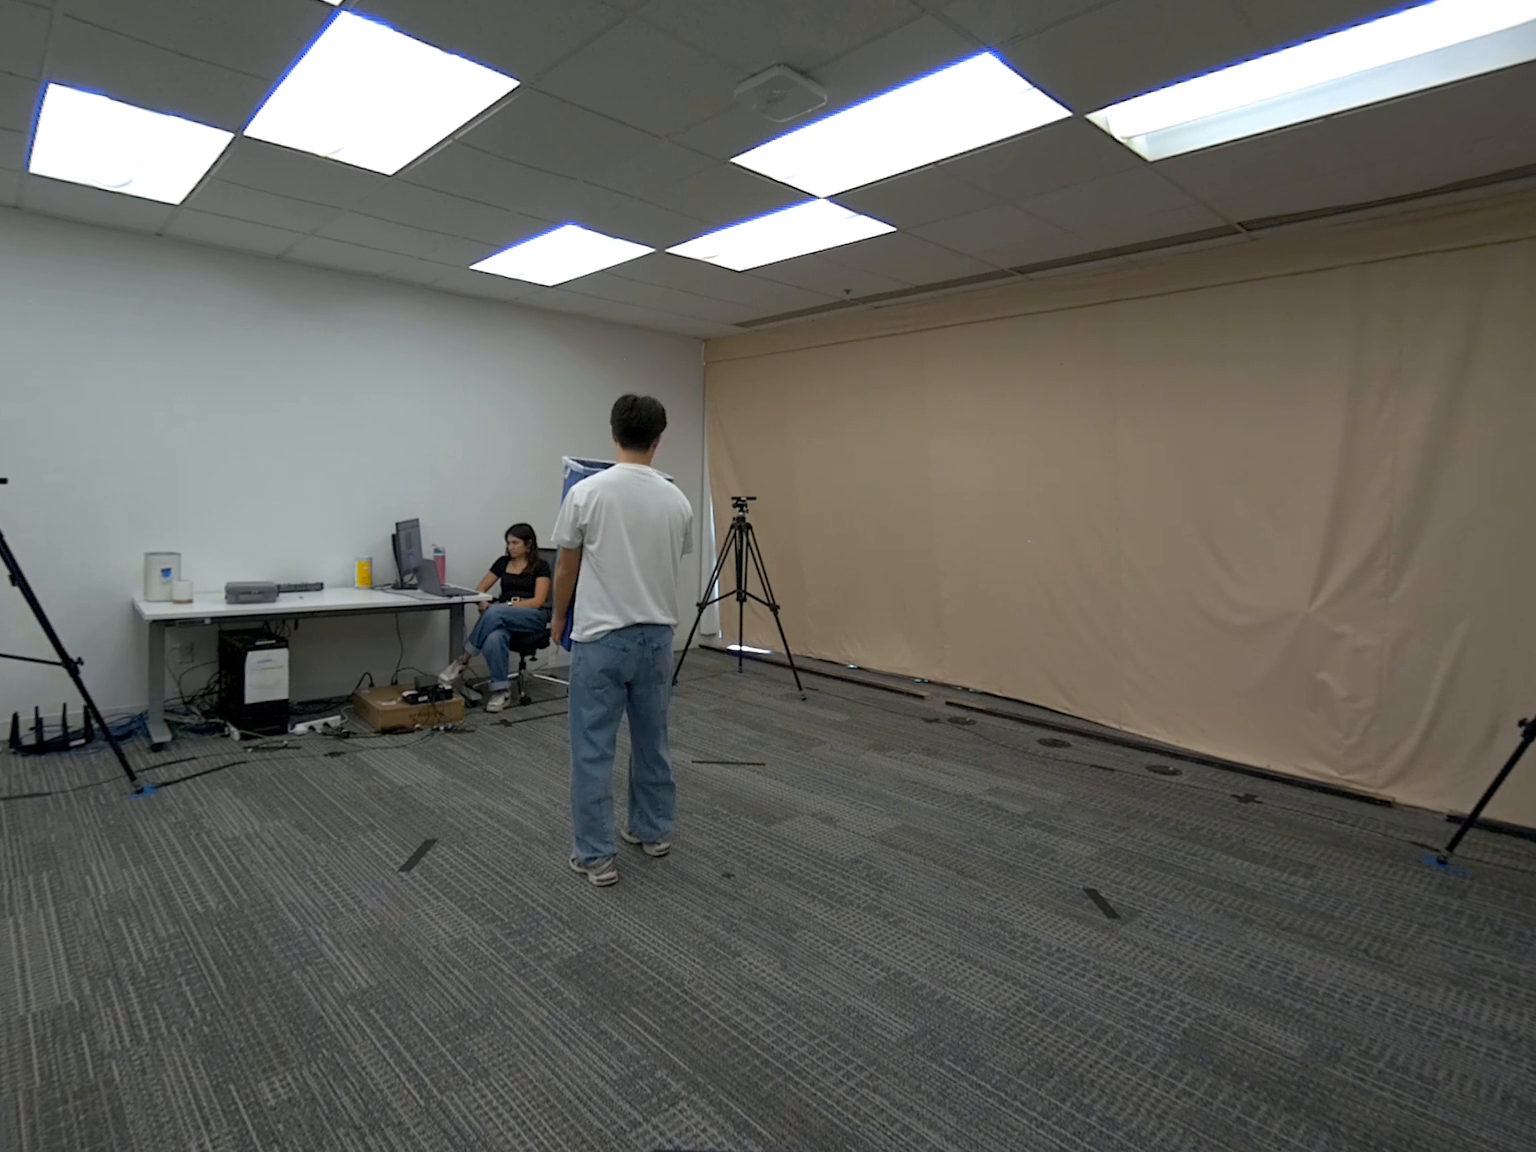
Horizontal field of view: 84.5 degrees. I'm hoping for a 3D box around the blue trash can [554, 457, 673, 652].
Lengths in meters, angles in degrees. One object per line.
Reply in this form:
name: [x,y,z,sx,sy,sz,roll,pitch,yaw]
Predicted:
blue trash can: [-0.654,-0.087,3.364,0.367,0.709,0.388,4,11,-25]
